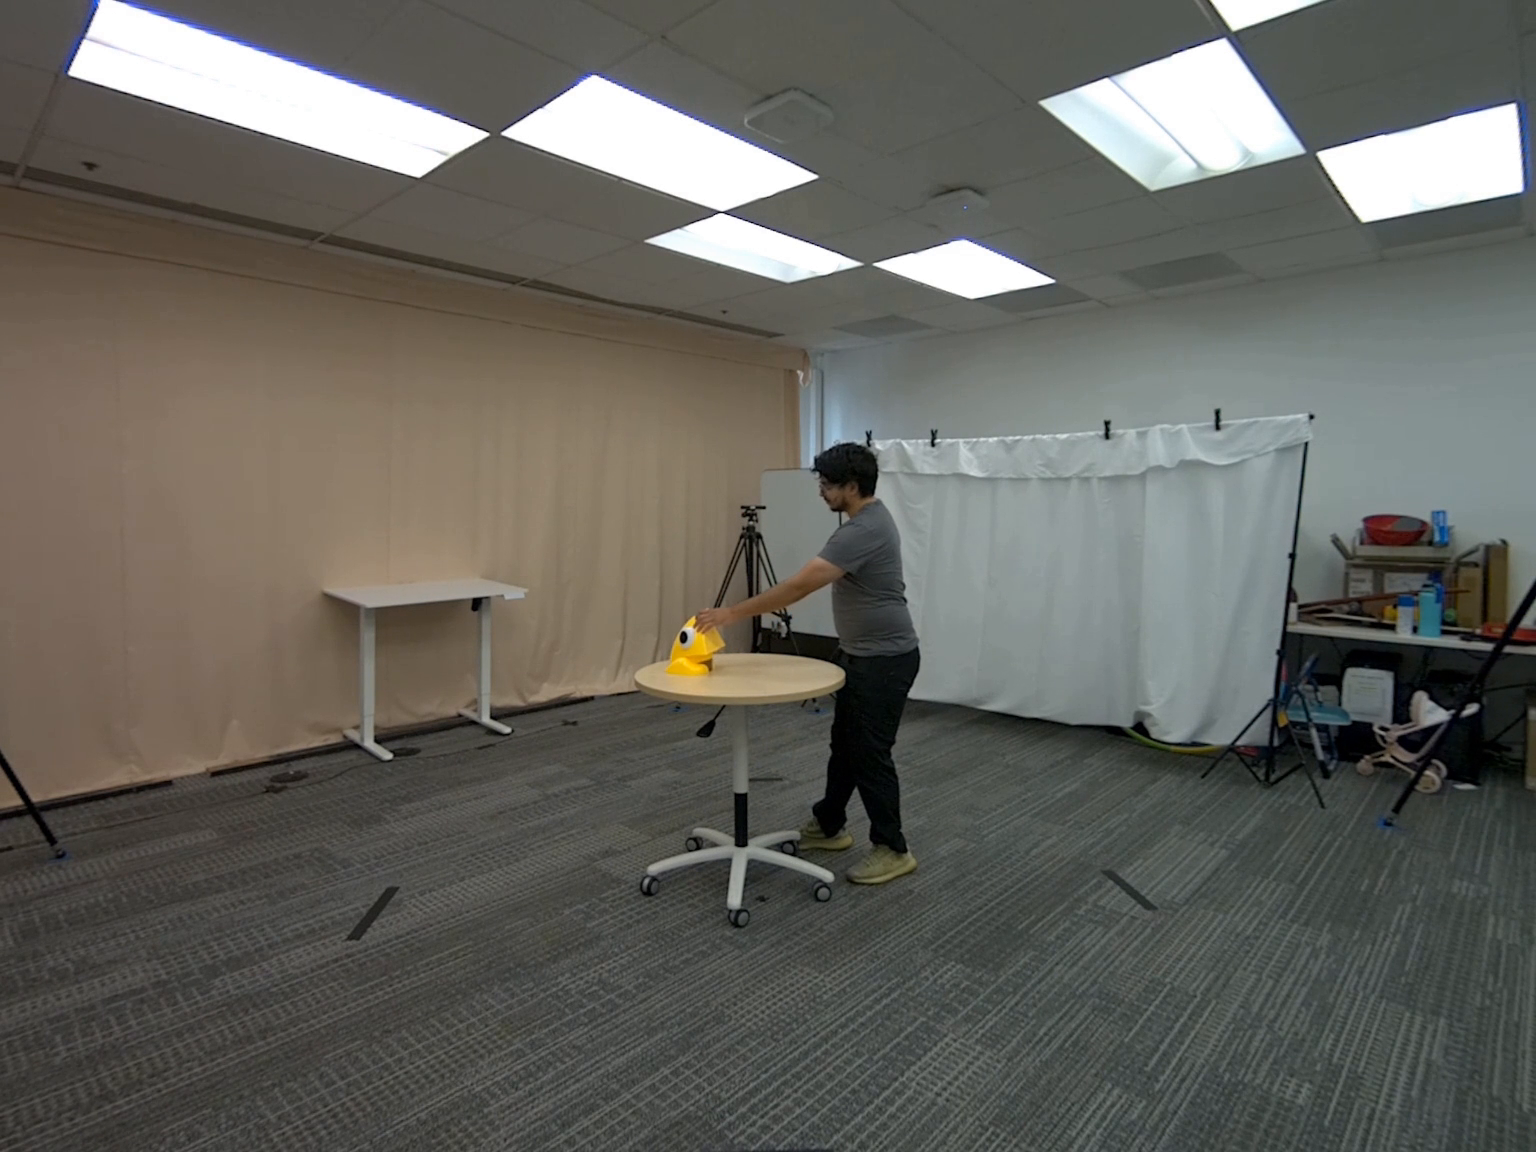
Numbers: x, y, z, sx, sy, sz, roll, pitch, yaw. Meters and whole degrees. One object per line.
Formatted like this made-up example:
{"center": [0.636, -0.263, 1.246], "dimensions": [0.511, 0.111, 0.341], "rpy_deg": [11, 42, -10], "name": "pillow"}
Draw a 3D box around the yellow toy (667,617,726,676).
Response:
{"center": [-0.270, 0.238, 3.141], "dimensions": [0.197, 0.230, 0.201], "rpy_deg": [1, 3, 18], "name": "yellow toy"}
